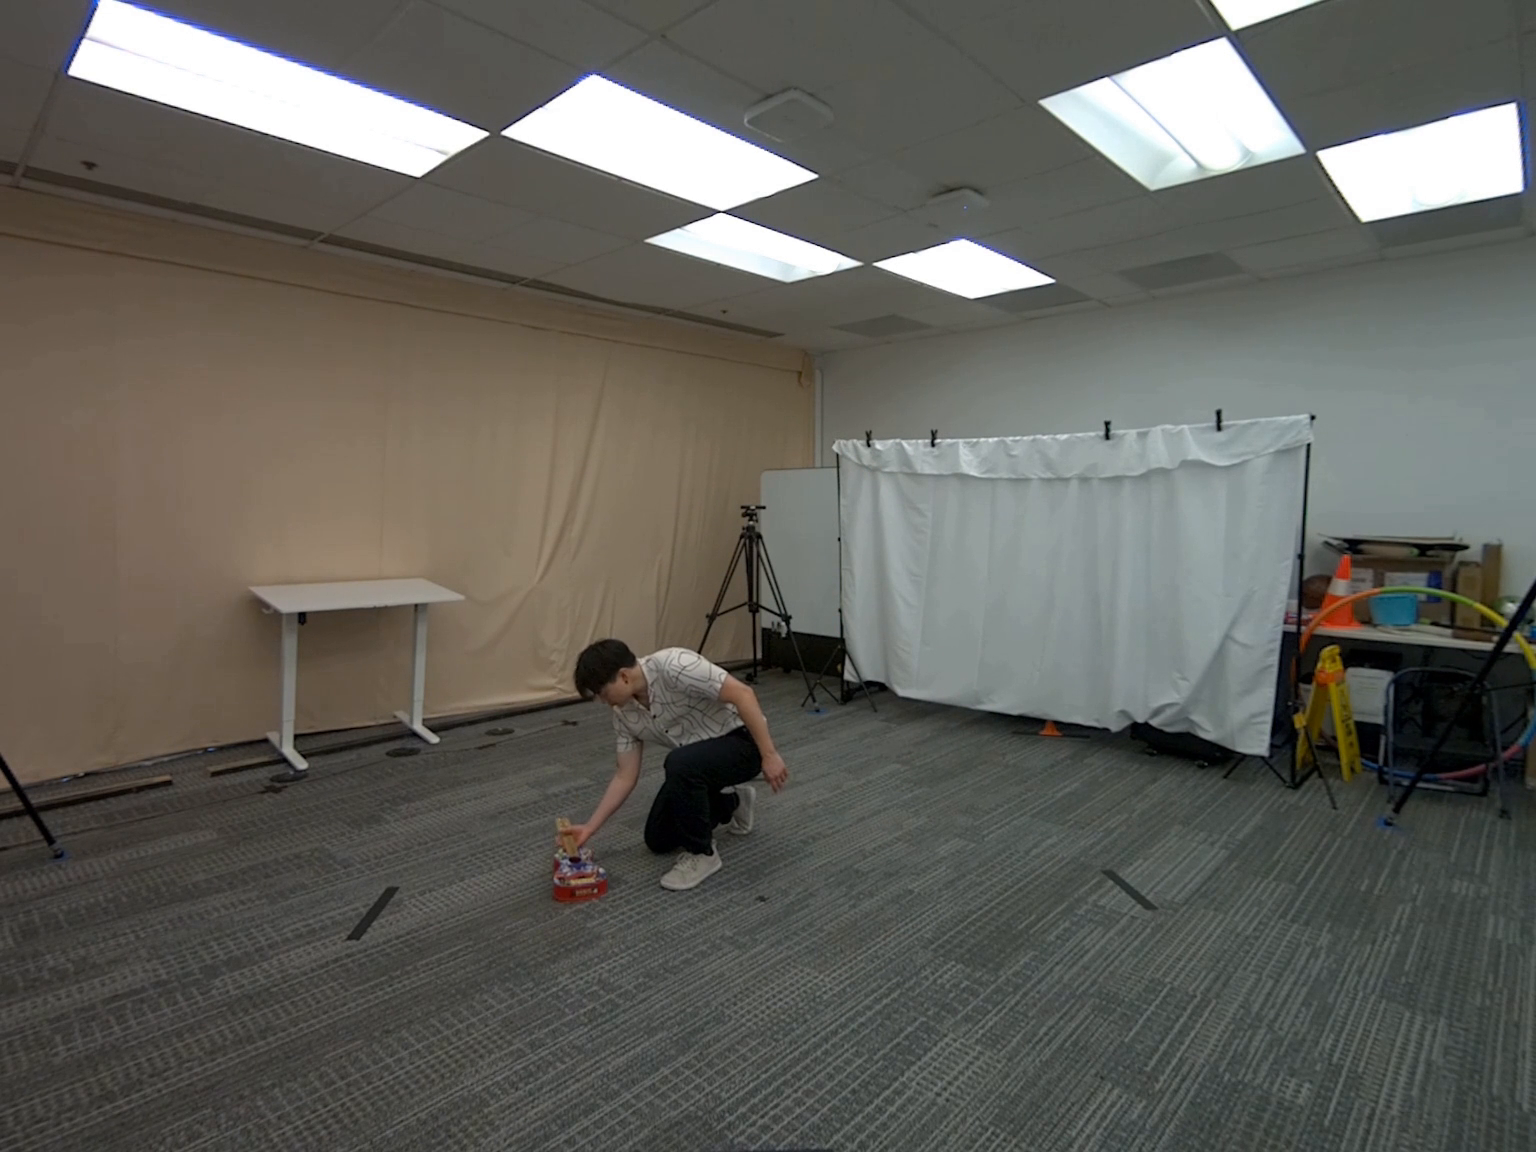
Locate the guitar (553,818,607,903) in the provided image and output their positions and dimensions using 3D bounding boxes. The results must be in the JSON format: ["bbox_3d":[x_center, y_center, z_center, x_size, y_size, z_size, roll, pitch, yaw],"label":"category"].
[{"bbox_3d":[-0.720,1.069,3.210,0.190,0.070,0.508,-1,12,-14],"label":"guitar"}]
